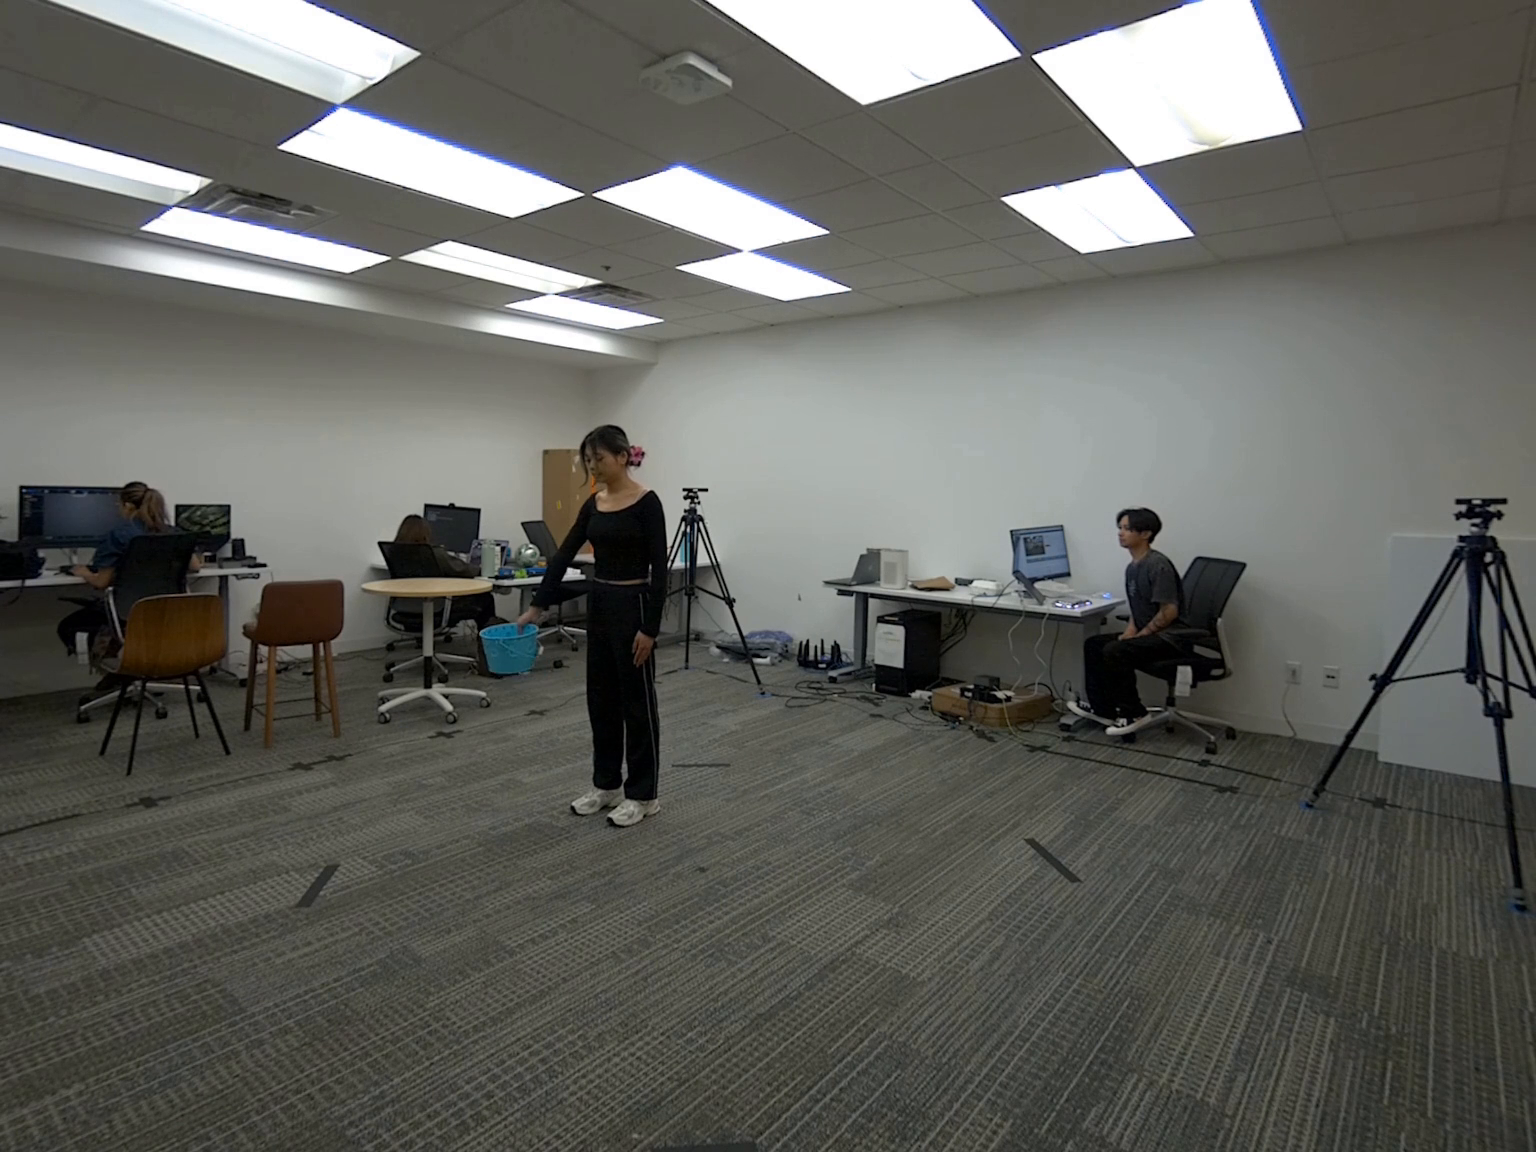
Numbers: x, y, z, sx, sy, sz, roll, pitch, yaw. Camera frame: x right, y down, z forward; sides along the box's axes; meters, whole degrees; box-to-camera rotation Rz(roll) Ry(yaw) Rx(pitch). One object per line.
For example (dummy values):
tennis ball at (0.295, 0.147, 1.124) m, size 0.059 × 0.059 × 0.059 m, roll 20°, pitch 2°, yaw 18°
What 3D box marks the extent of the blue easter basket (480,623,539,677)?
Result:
blue easter basket at (-1.065, 0.293, 3.460) m, size 0.243 × 0.154 × 0.246 m, roll -3°, pitch 11°, yaw -1°
